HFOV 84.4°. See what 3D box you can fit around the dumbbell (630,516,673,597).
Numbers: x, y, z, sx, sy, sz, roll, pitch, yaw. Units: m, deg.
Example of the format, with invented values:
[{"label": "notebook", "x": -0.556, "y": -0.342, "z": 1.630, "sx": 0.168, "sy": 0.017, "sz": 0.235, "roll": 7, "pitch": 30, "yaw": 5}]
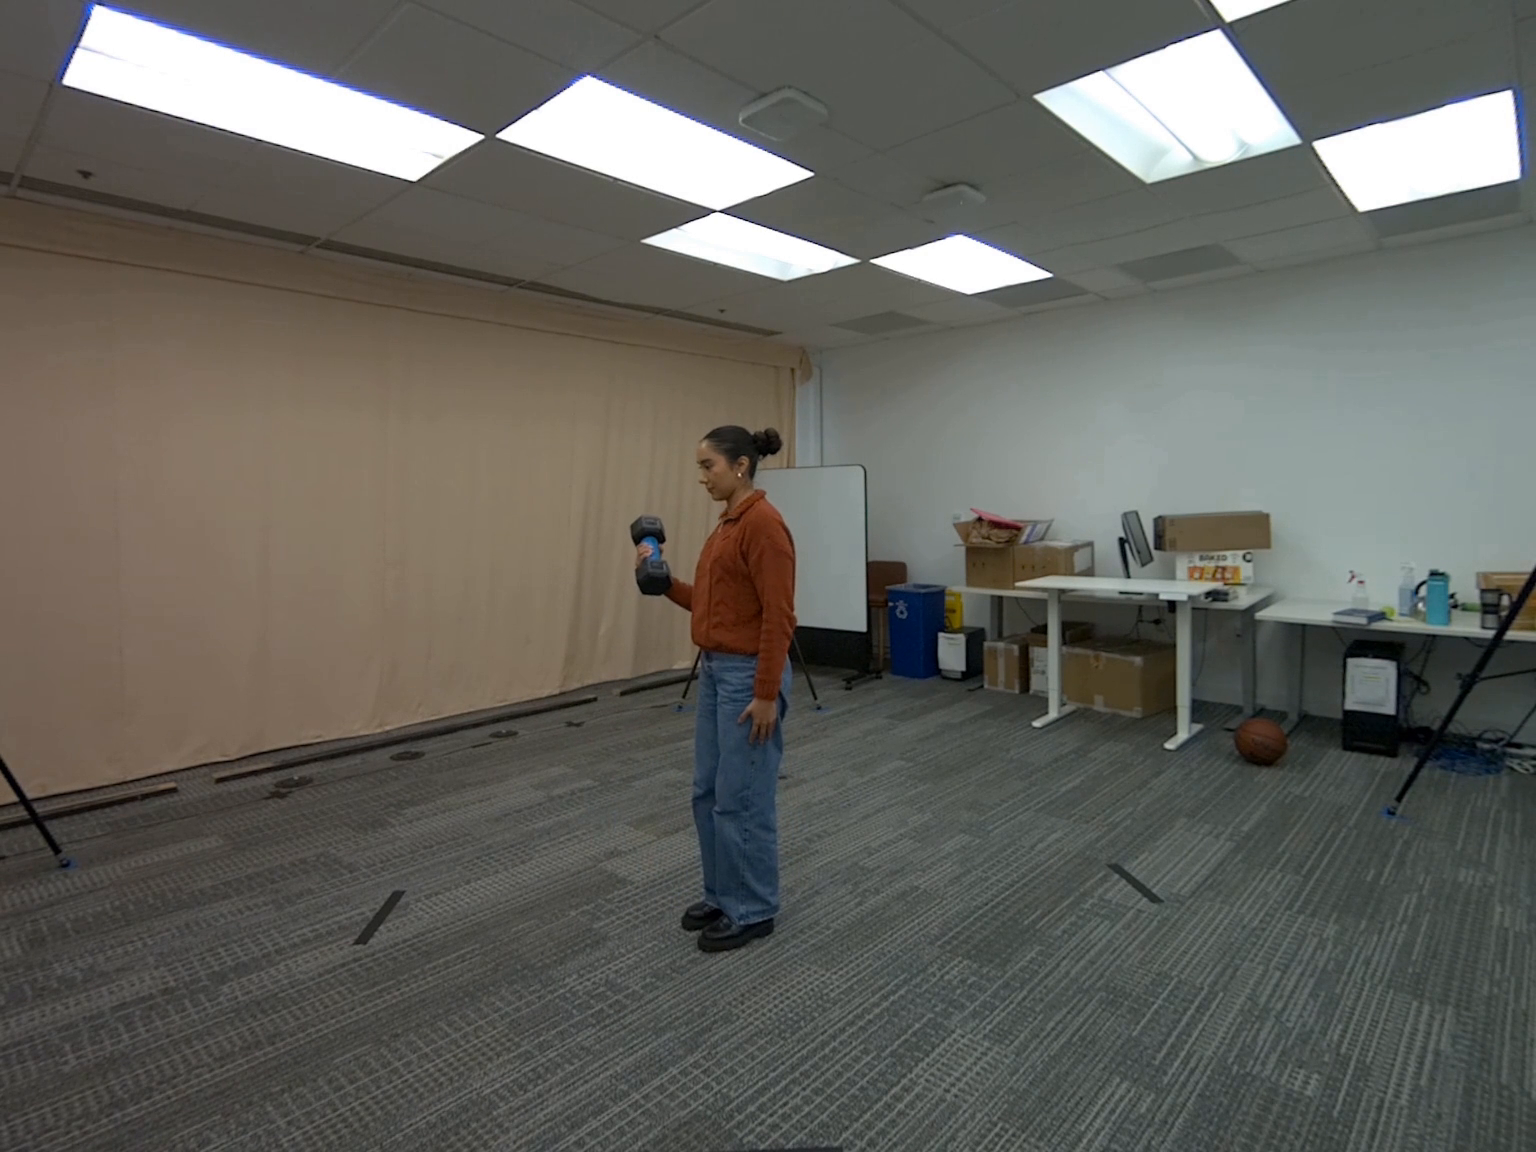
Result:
[{"label": "dumbbell", "x": -0.385, "y": -0.070, "z": 2.807, "sx": 0.109, "sy": 0.119, "sz": 0.301, "roll": -20, "pitch": 46, "yaw": 6}]
